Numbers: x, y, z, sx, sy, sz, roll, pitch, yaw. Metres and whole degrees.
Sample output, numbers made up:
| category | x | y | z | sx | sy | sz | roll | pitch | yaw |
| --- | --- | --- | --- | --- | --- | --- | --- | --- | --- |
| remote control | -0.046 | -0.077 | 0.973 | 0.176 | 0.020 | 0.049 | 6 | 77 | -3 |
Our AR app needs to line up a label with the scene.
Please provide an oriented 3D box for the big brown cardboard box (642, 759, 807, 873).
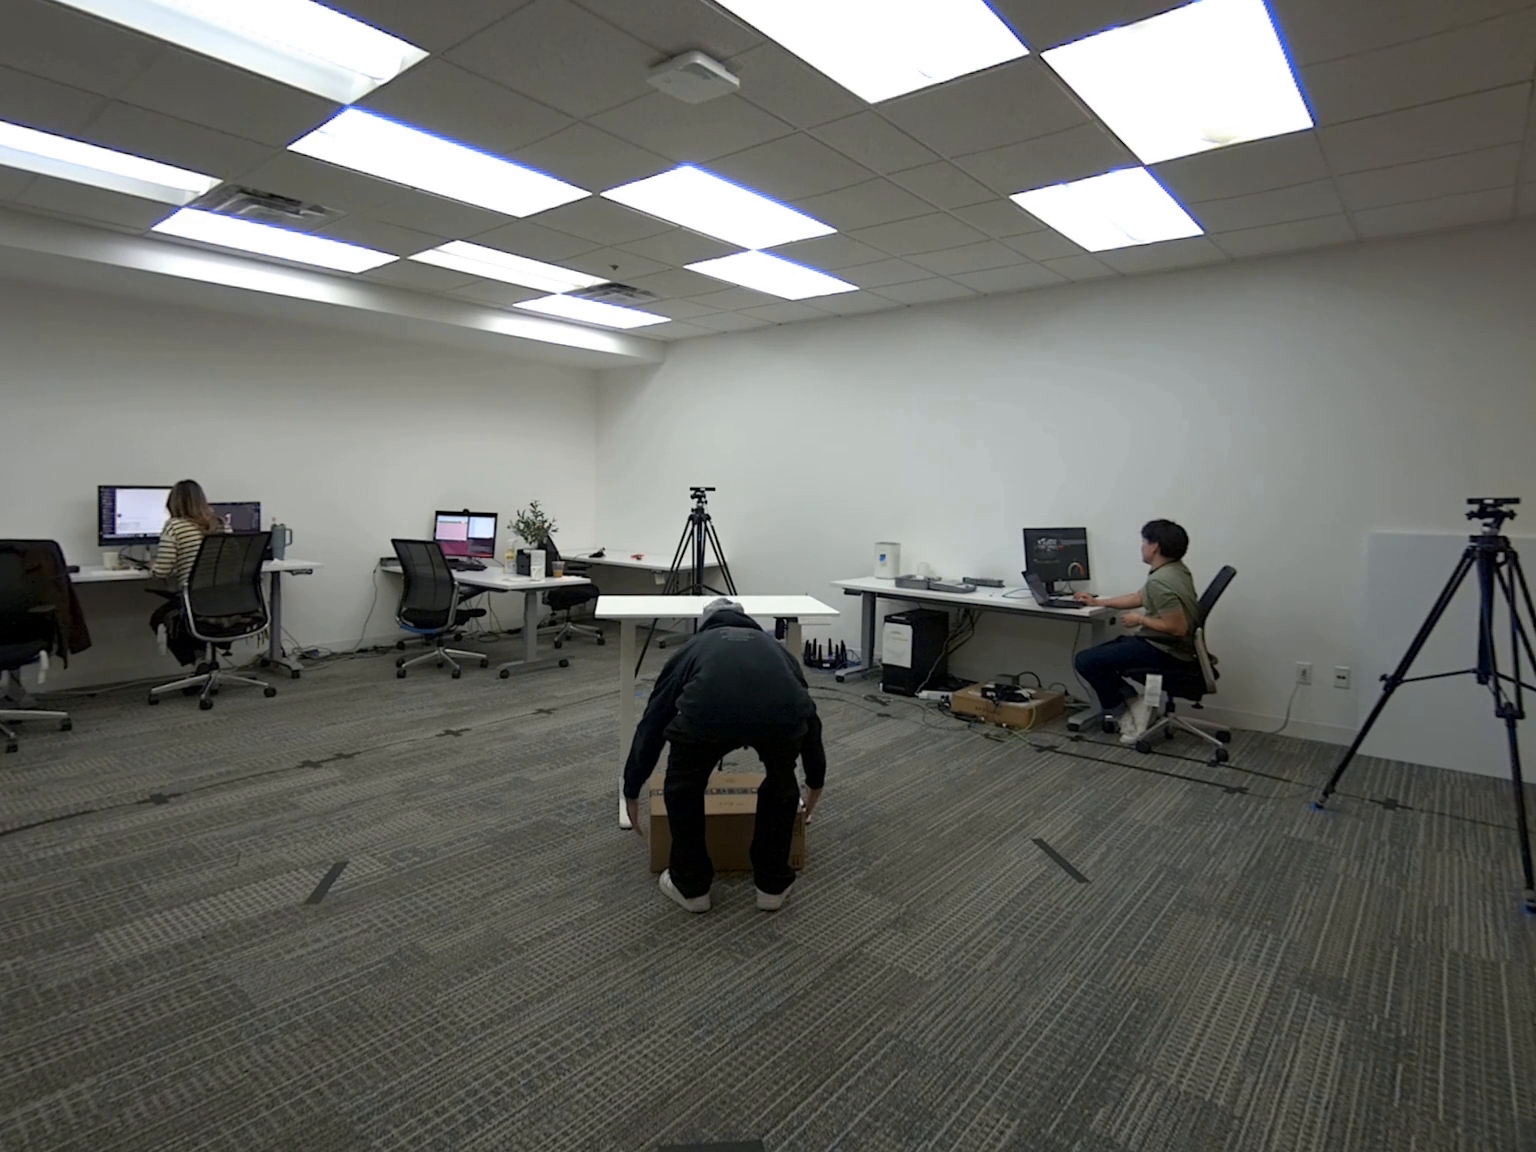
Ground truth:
| category | x | y | z | sx | sy | sz | roll | pitch | yaw |
| --- | --- | --- | --- | --- | --- | --- | --- | --- | --- |
| big brown cardboard box | -0.185 | 0.935 | 3.284 | 0.585 | 0.232 | 0.422 | 1 | 6 | -6 |
